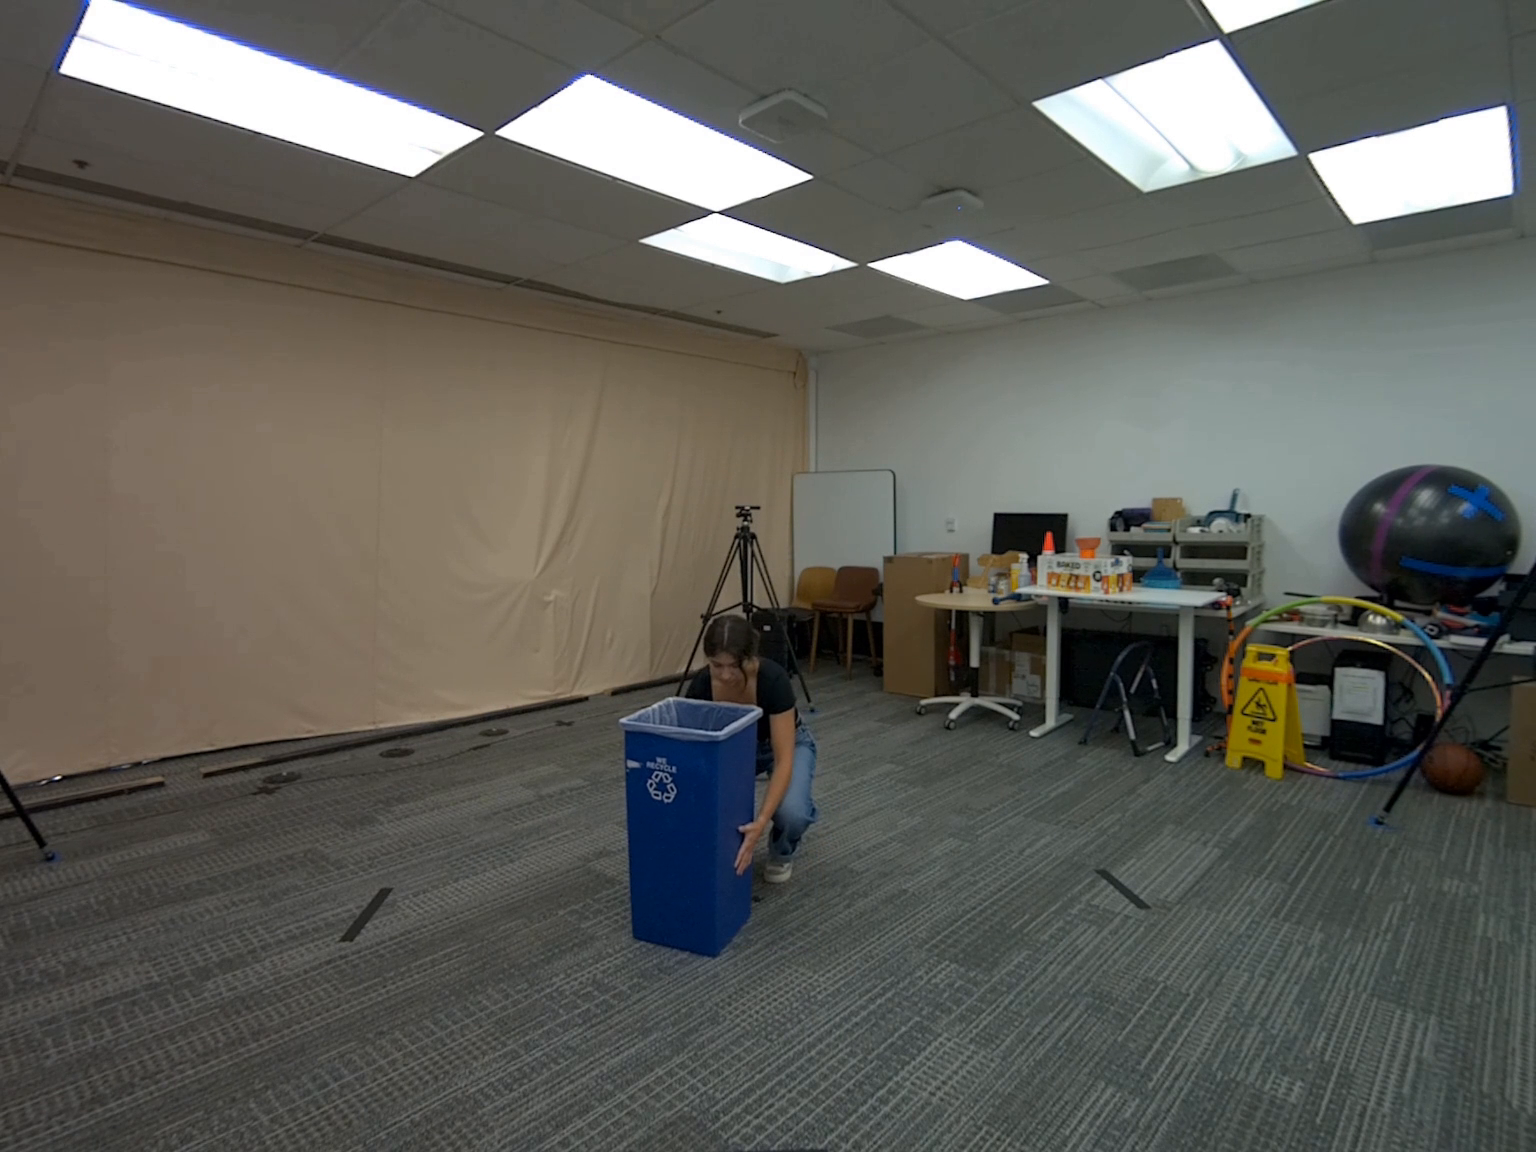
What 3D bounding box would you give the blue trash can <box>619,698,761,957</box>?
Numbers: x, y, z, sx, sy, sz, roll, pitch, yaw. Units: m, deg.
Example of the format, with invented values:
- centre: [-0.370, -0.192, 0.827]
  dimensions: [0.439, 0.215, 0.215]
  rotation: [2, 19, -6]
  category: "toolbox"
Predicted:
- centre: [-0.240, 0.803, 2.767]
  dimensions: [0.383, 0.712, 0.370]
  rotation: [1, 4, 23]
  category: "blue trash can"
